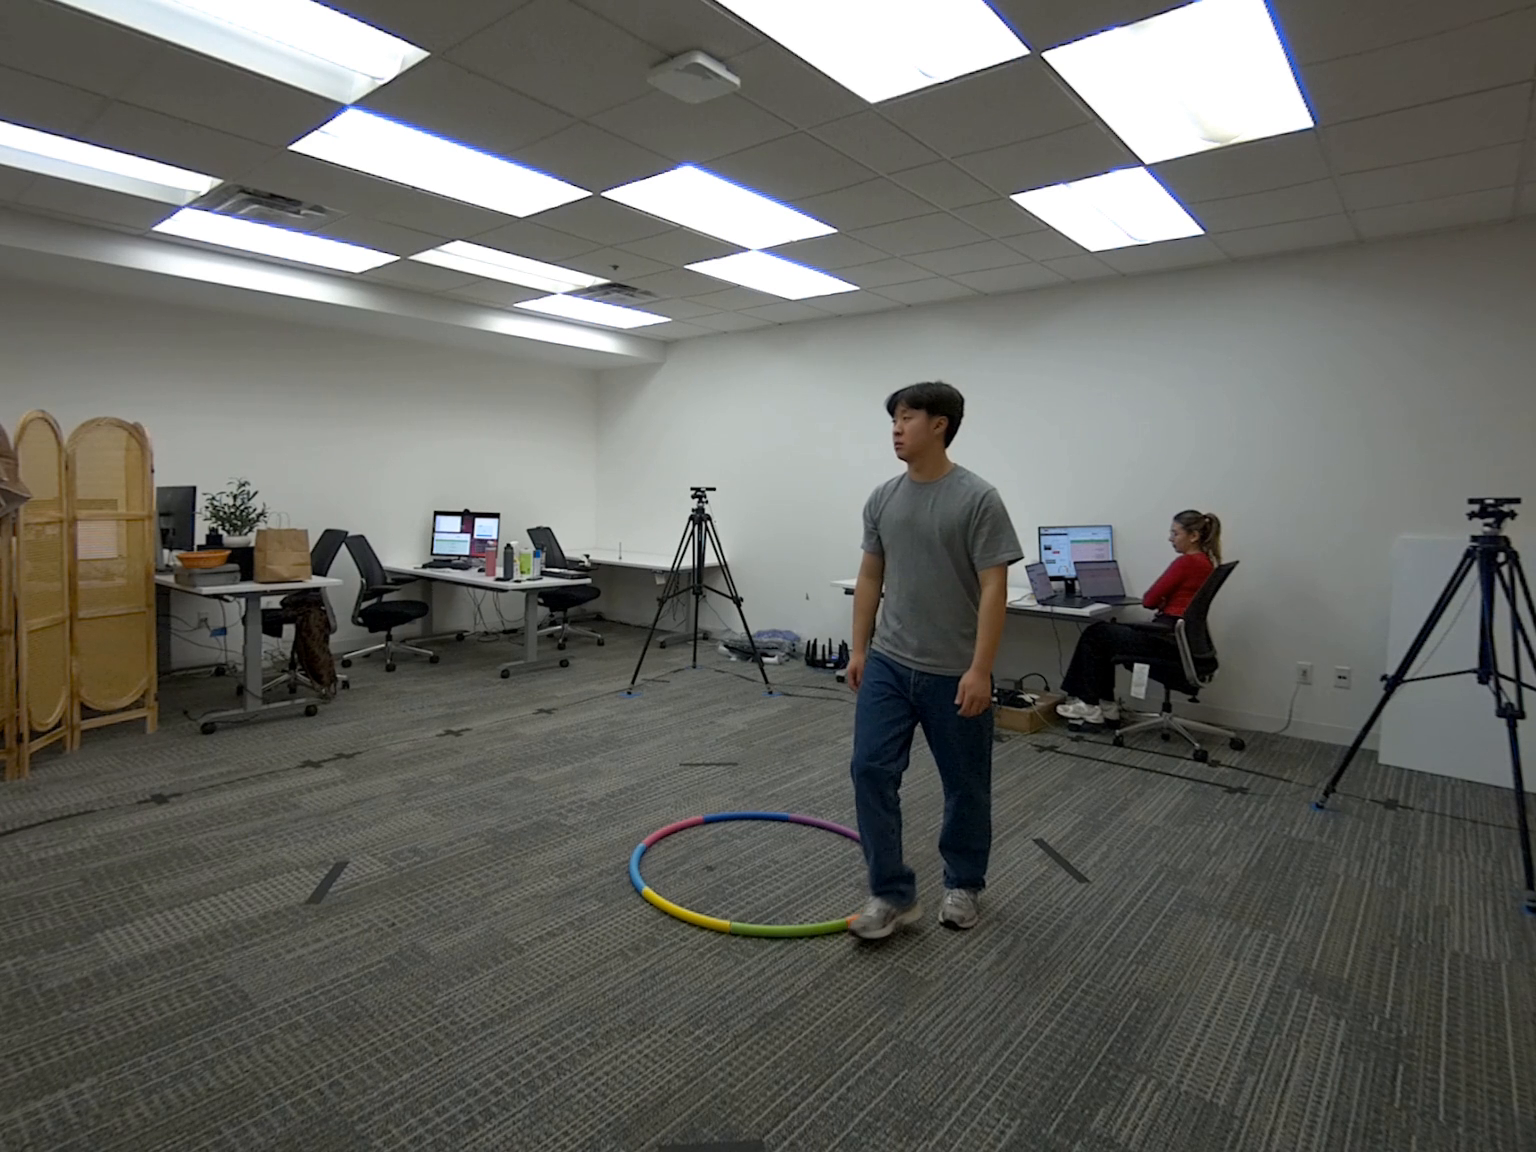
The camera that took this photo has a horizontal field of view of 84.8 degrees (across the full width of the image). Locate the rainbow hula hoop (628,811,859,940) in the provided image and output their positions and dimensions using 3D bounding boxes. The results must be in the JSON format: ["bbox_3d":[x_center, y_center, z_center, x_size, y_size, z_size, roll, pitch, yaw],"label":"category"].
[{"bbox_3d":[-0.021,1.039,3.104,0.978,0.035,0.984,1,5,-2],"label":"rainbow hula hoop"}]
